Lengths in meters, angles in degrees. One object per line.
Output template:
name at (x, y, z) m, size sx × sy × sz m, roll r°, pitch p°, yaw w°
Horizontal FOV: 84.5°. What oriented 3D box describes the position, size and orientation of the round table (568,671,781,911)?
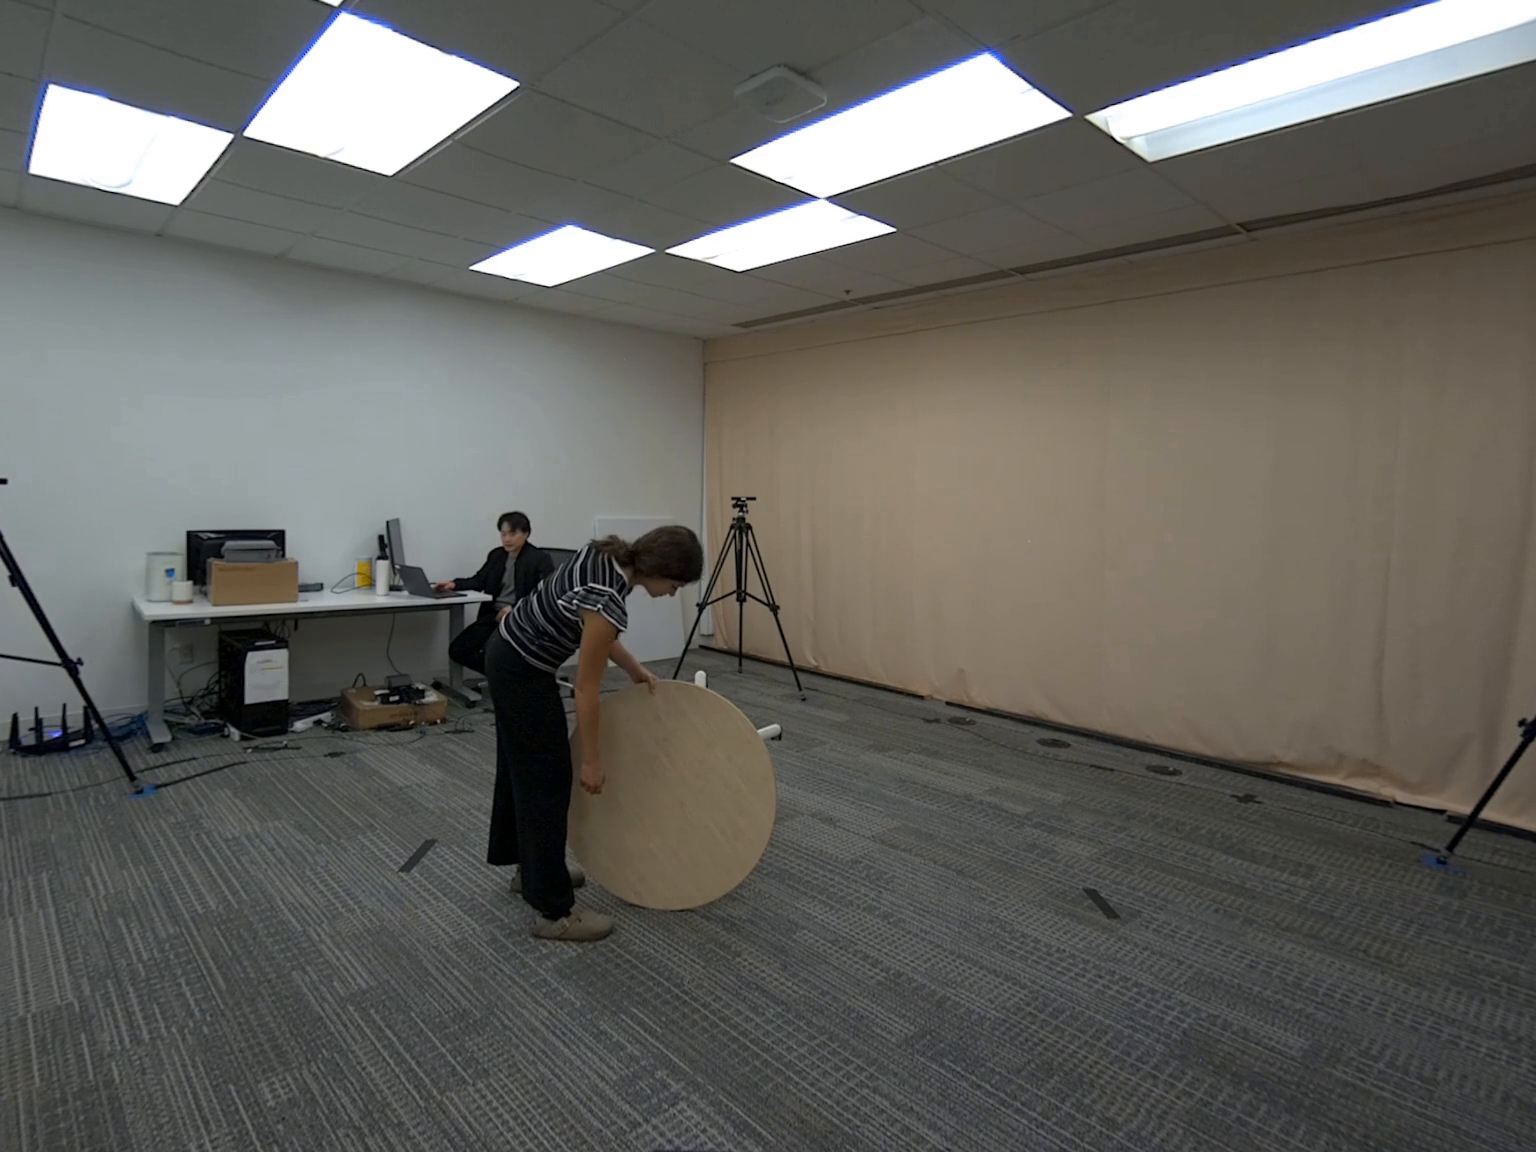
round table at (-0.321, 0.752, 3.259) m, size 0.791 × 0.787 × 0.779 m, roll 2°, pitch -2°, yaw 9°
